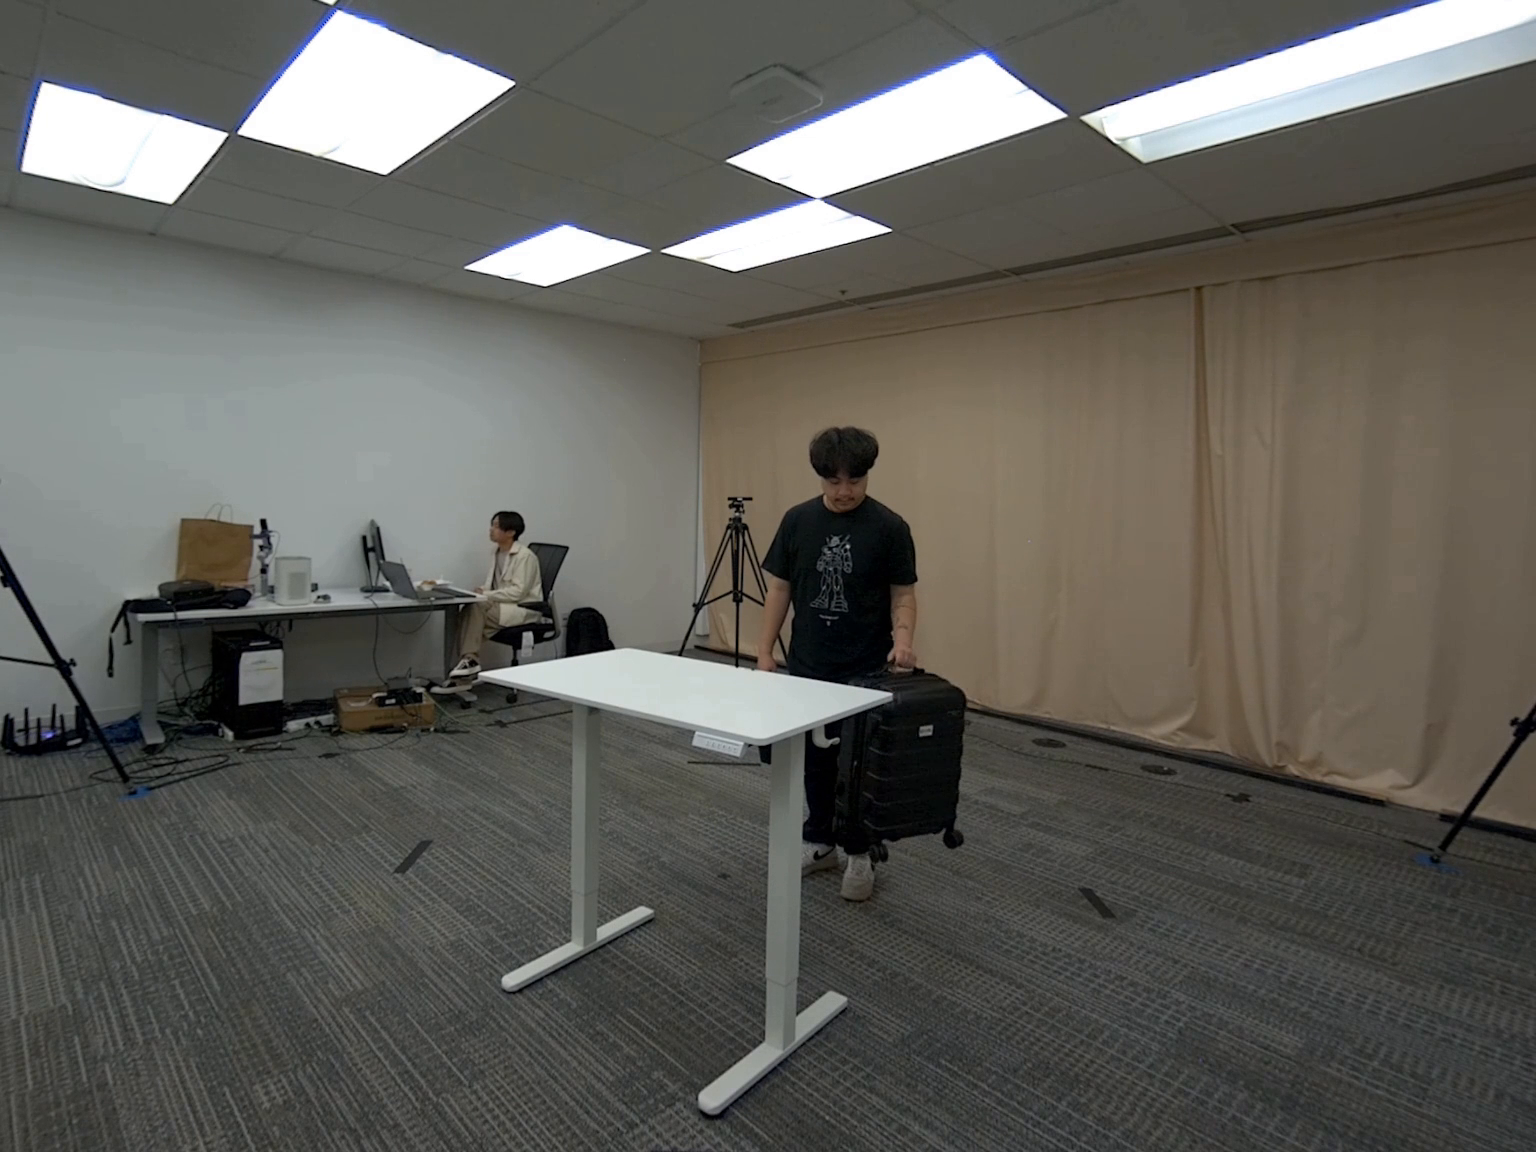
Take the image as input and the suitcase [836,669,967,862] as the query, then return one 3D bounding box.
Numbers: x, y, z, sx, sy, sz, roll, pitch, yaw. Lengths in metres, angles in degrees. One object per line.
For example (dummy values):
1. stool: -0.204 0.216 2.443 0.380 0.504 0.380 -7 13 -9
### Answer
1. suitcase: 0.433 0.591 2.751 0.368 0.547 0.254 0 8 -29
